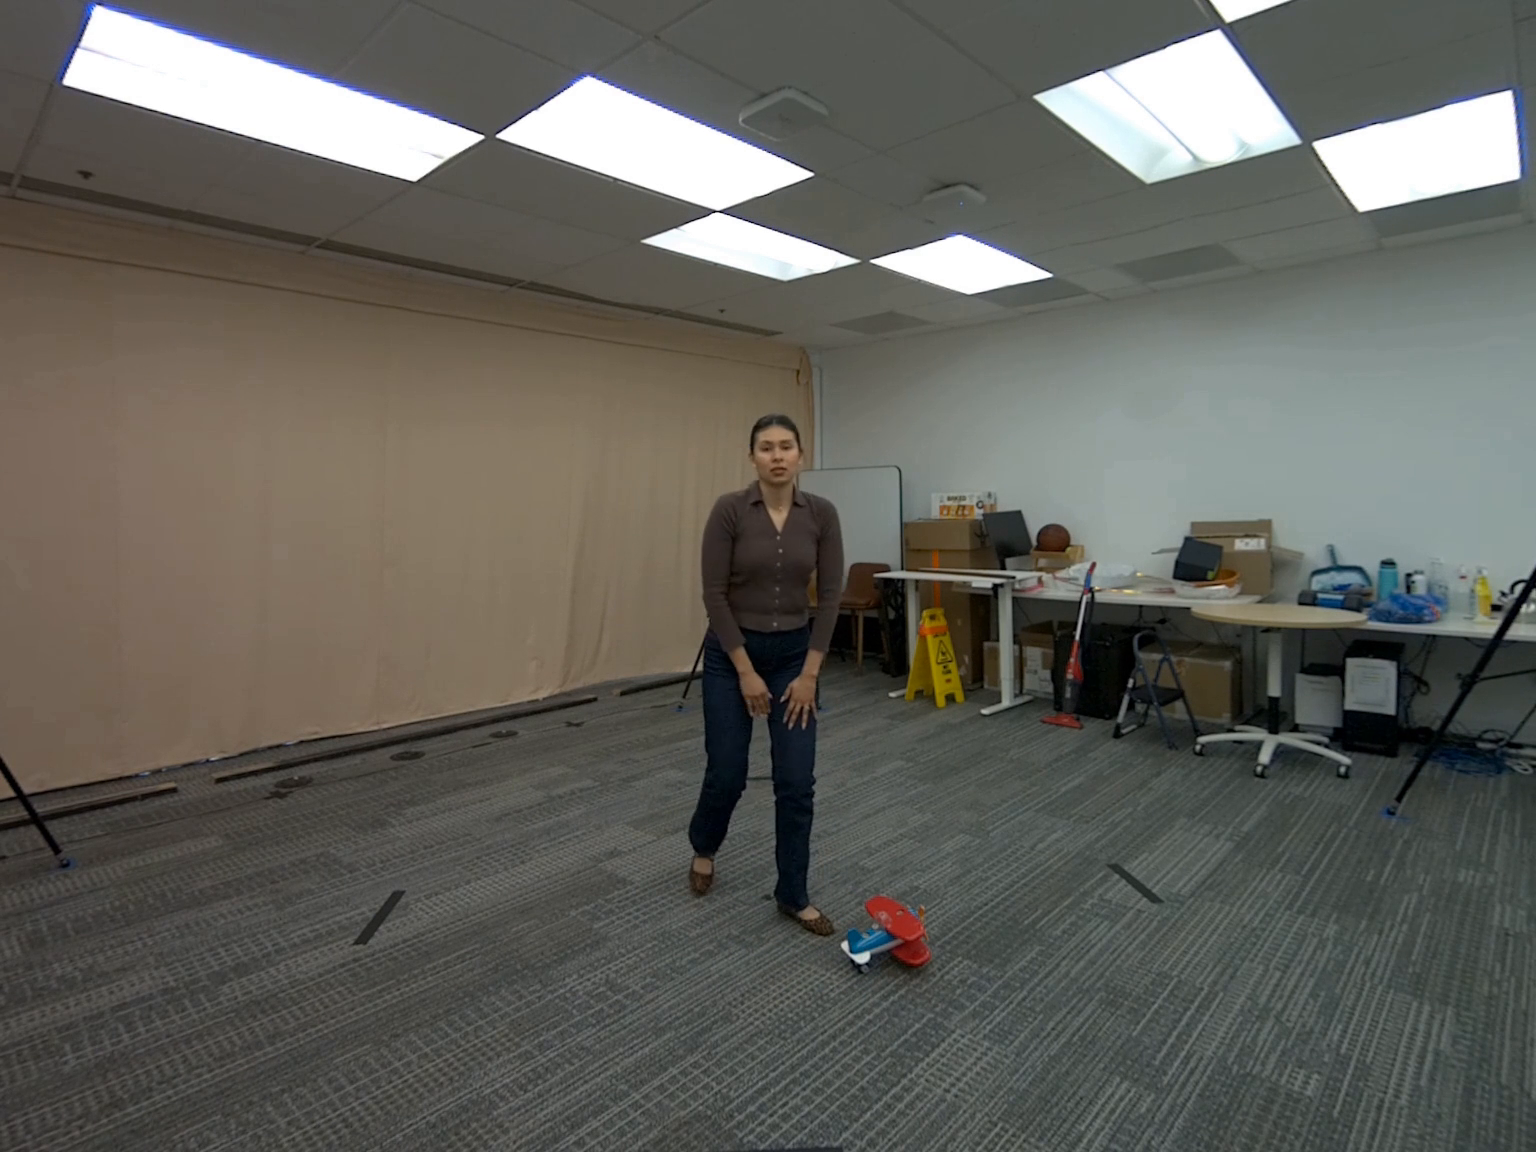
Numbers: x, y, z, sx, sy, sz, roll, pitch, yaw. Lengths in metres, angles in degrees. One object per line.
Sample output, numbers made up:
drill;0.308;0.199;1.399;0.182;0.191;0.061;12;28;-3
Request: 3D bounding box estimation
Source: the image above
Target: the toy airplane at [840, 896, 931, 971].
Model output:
toy airplane;0.372;1.098;2.524;0.259;0.156;0.251;3;5;40
